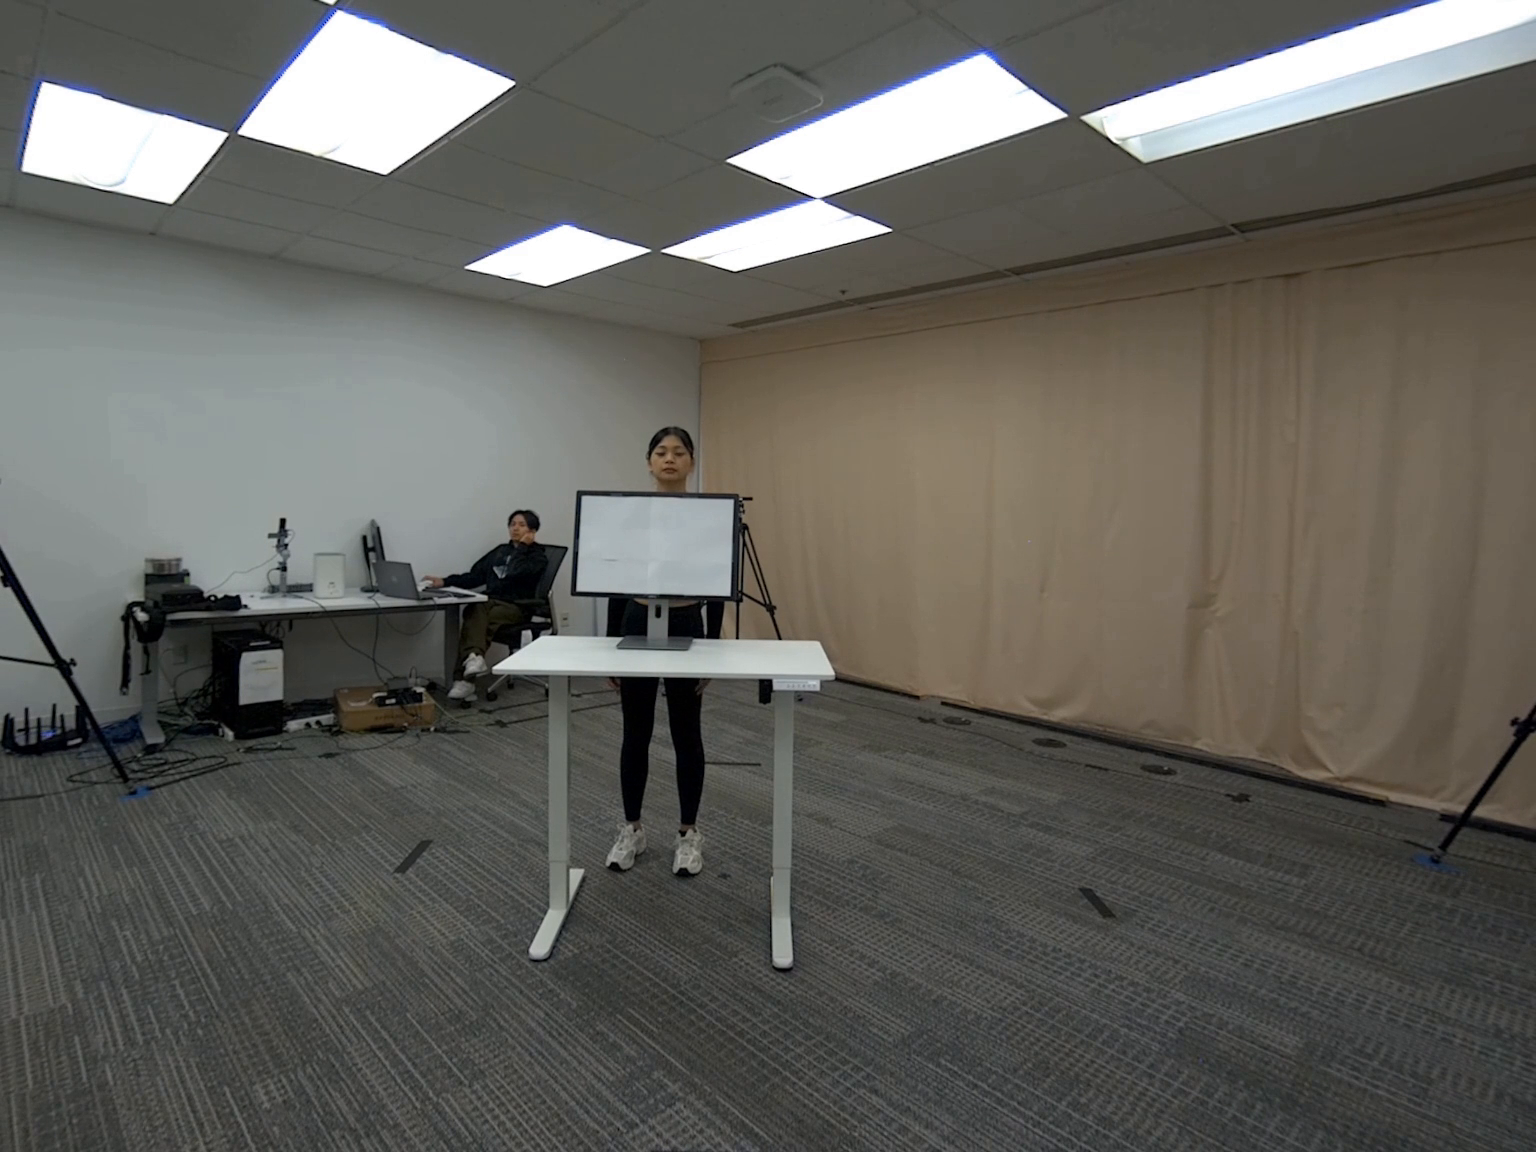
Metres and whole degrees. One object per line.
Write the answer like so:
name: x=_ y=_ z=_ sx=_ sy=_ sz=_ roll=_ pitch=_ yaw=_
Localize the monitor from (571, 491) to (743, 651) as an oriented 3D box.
monitor: x=-0.378 y=-0.014 z=2.885 sx=0.540 sy=0.521 sz=0.187 roll=0 pitch=5 yaw=2
